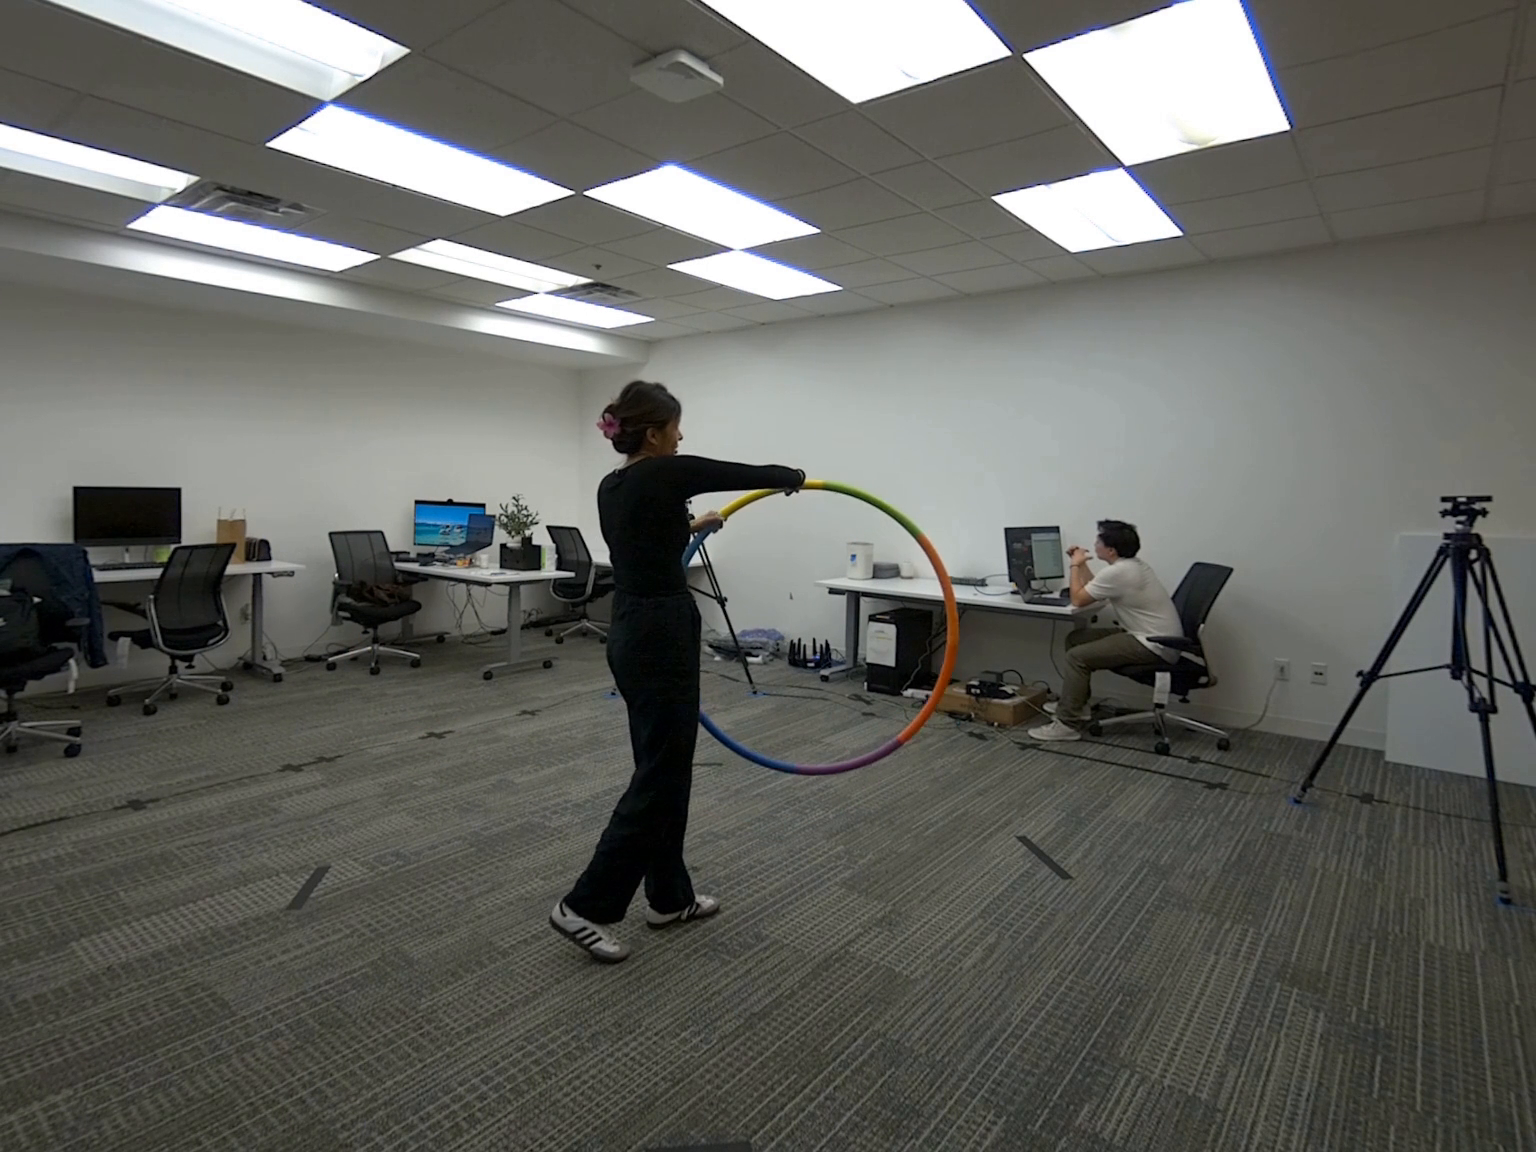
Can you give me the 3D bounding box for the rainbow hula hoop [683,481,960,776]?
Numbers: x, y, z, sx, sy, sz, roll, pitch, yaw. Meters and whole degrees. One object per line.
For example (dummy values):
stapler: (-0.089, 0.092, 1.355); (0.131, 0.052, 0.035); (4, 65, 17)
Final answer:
rainbow hula hoop: (0.124, 0.168, 2.865); (0.993, 0.987, 0.051); (1, -2, 8)
